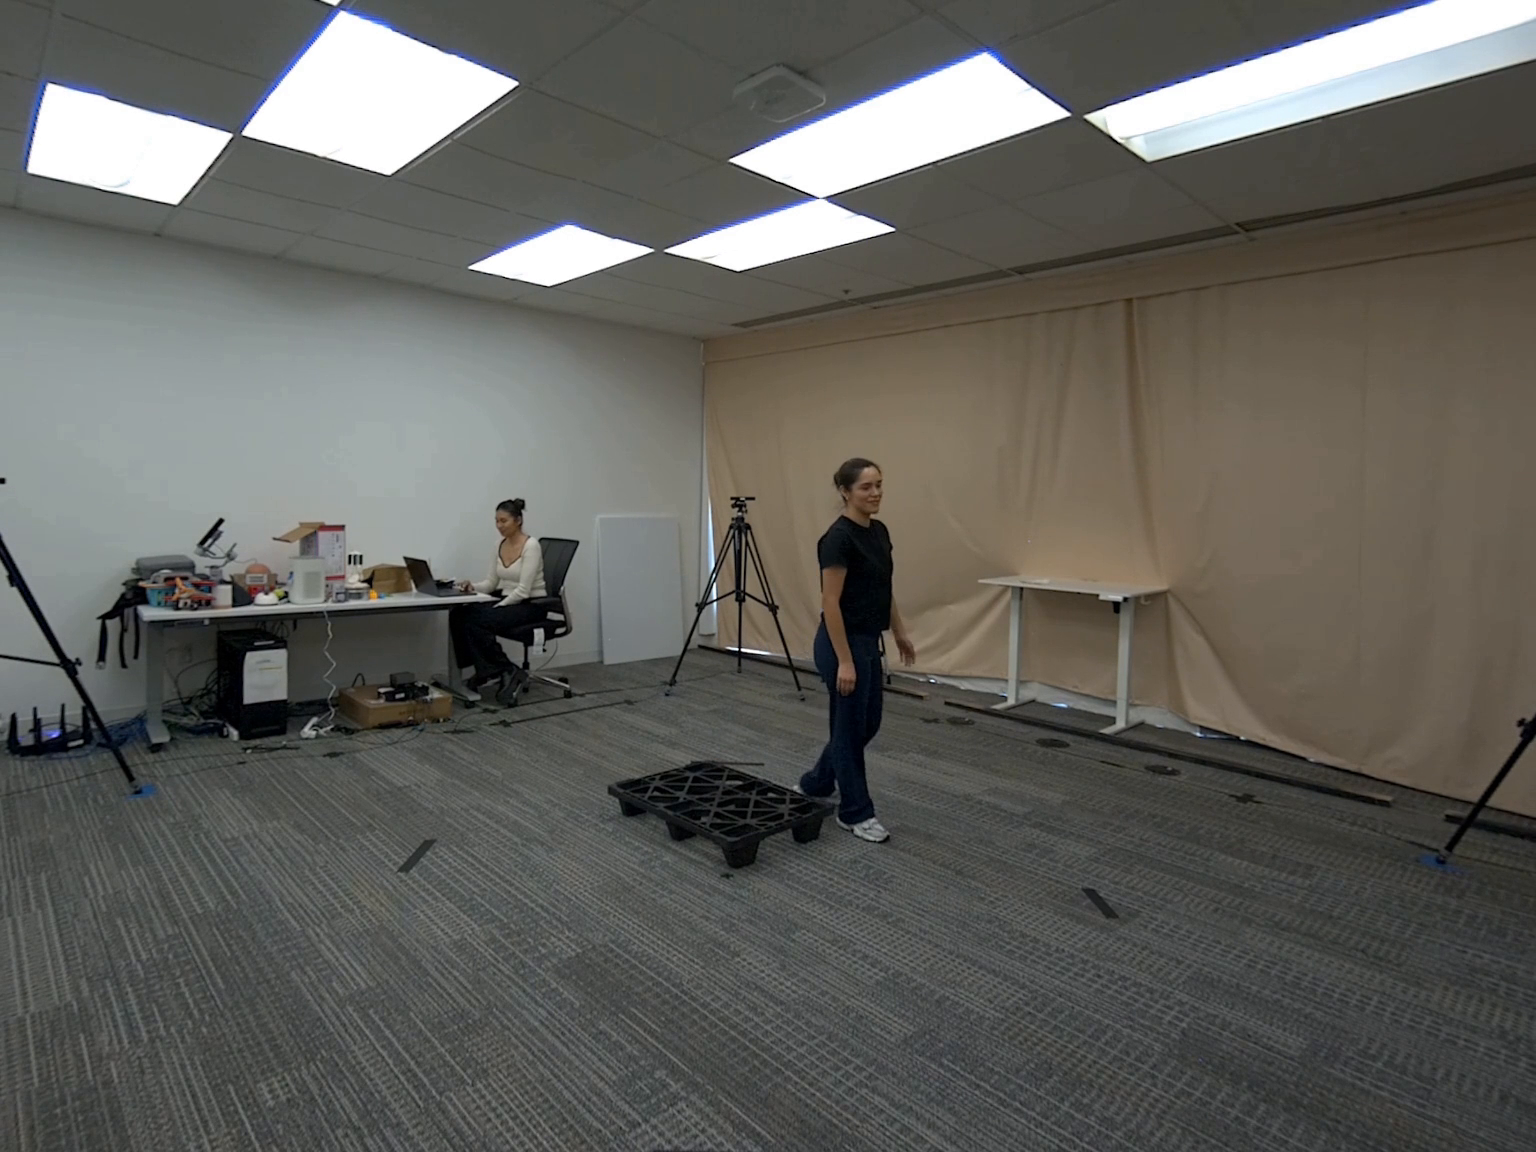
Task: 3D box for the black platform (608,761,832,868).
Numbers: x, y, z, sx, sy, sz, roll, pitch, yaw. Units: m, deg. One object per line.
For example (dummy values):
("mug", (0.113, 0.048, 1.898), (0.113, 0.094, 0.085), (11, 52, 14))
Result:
("black platform", (-0.220, 1.000, 3.554), (0.591, 0.143, 0.826), (-4, 7, -44))
